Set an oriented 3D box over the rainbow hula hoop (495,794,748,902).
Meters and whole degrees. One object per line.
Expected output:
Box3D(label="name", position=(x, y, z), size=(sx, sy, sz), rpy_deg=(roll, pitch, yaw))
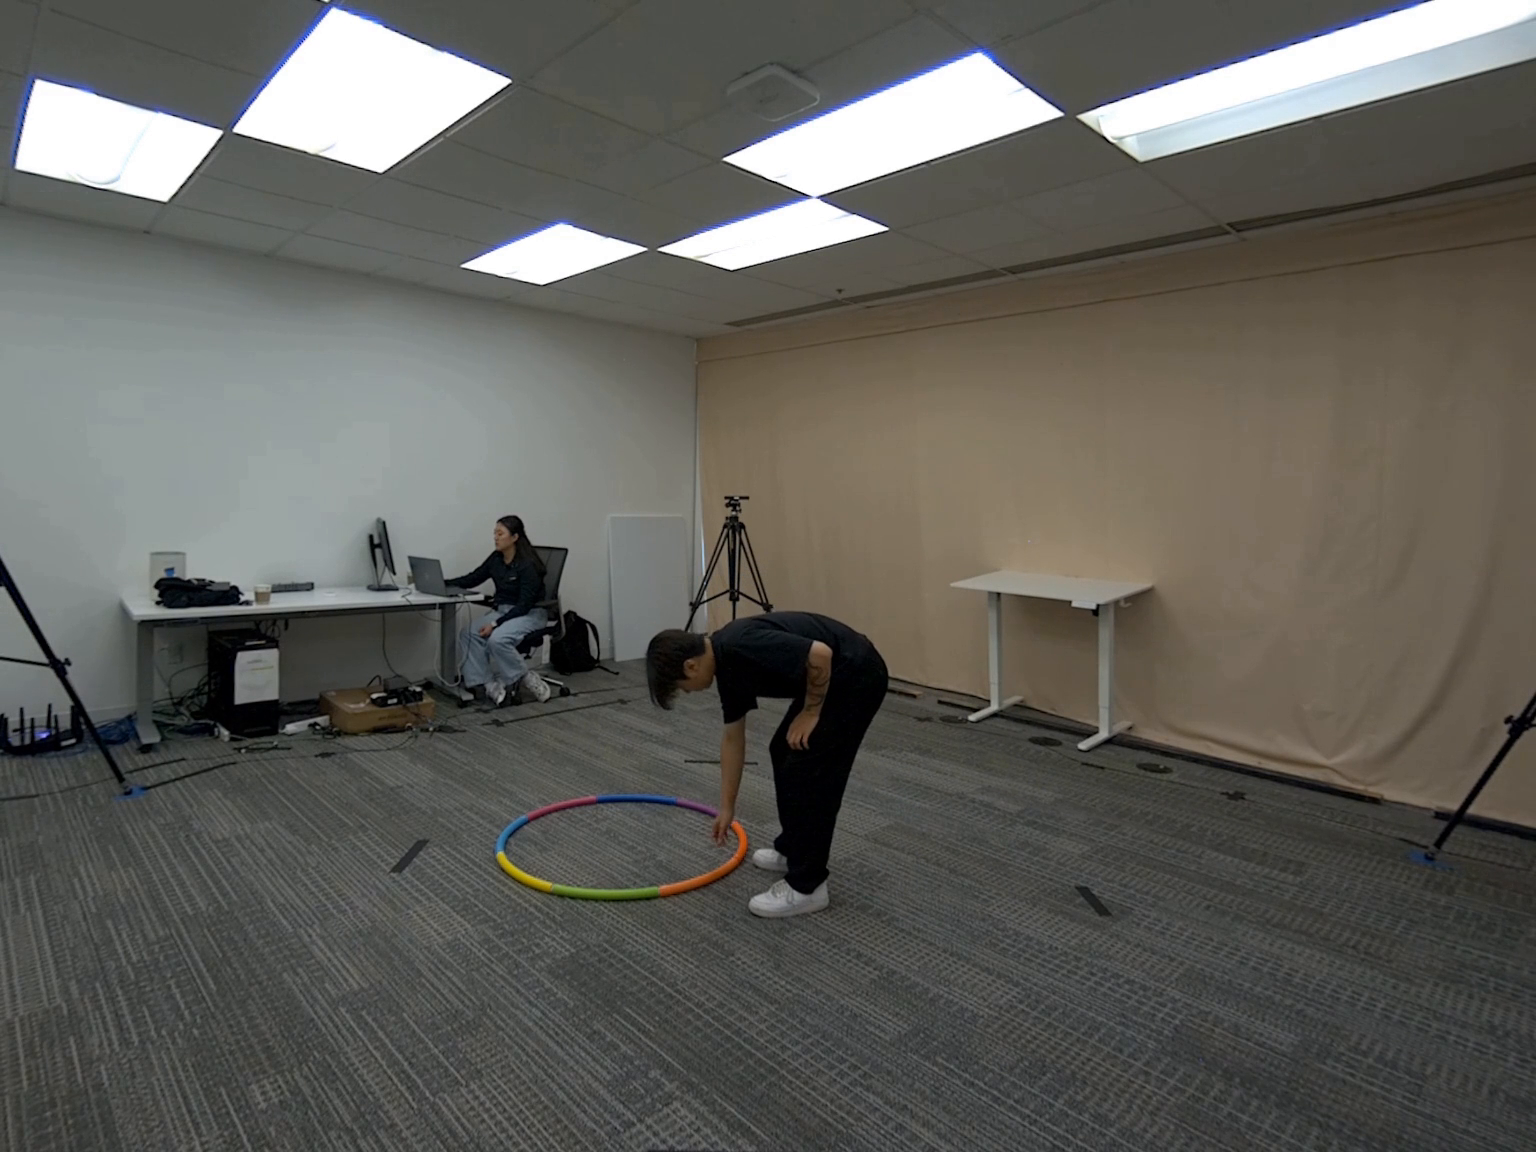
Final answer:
Box3D(label="rainbow hula hoop", position=(-0.577, 1.042, 3.360), size=(0.978, 0.035, 0.982), rpy_deg=(2, 5, -1))
